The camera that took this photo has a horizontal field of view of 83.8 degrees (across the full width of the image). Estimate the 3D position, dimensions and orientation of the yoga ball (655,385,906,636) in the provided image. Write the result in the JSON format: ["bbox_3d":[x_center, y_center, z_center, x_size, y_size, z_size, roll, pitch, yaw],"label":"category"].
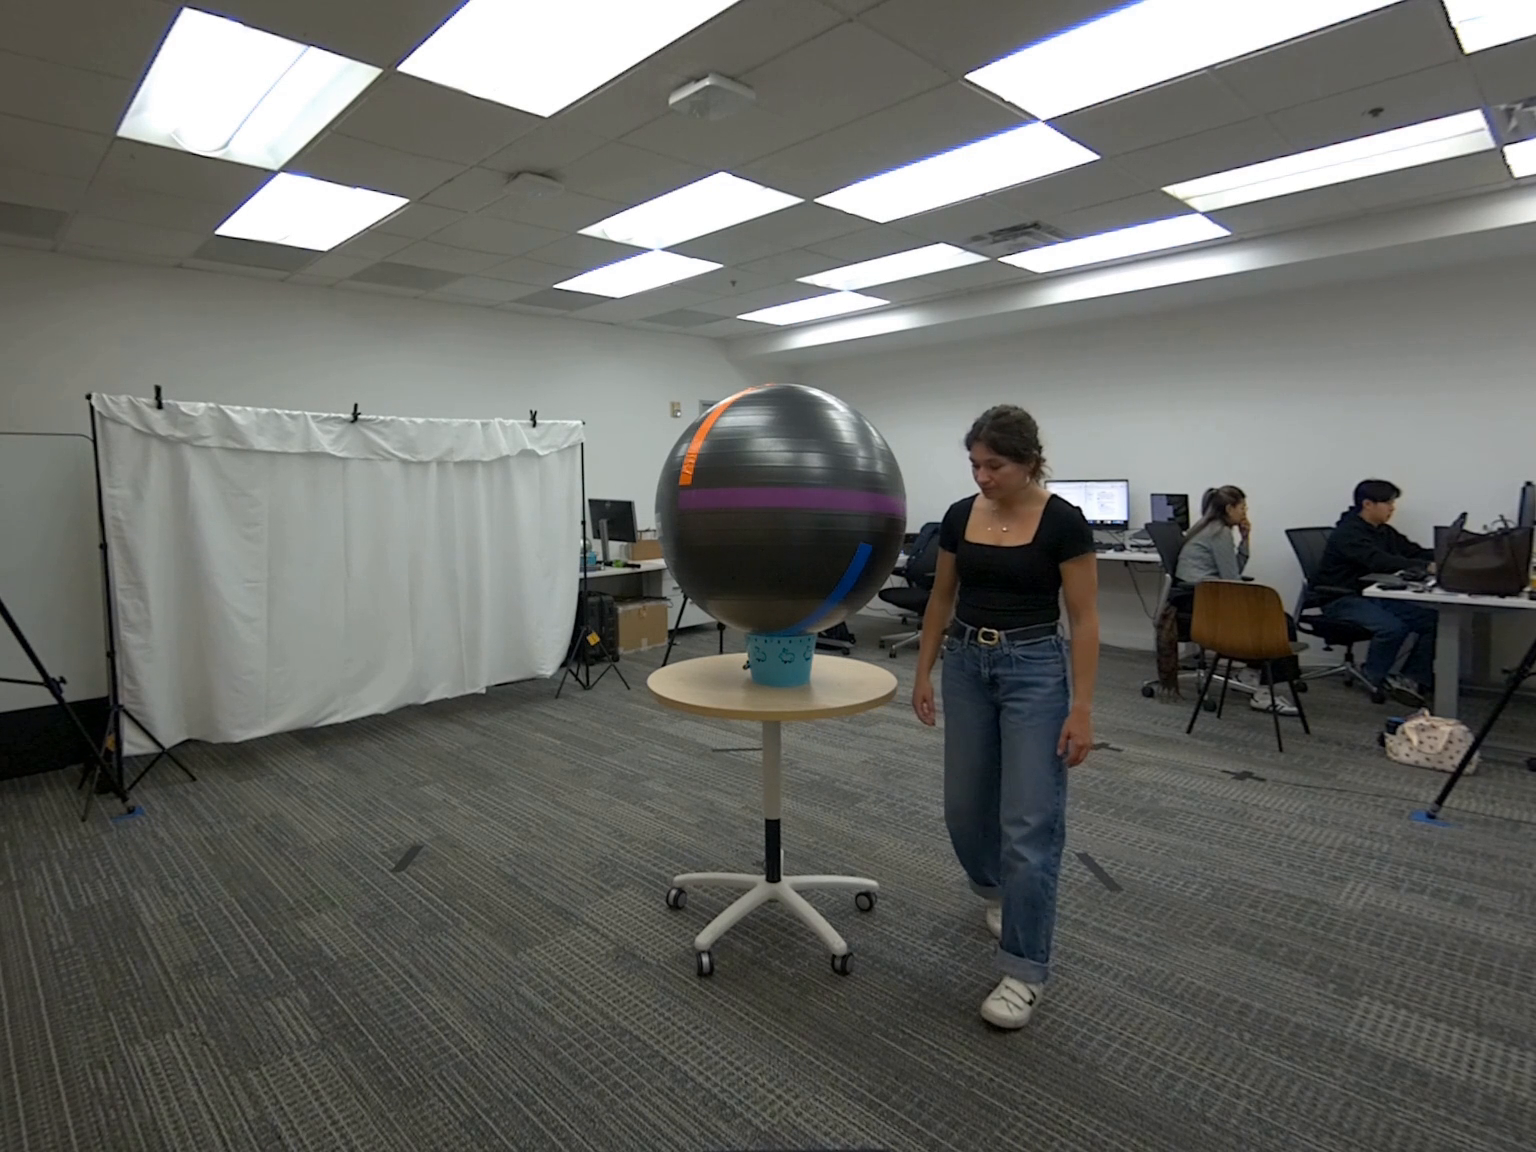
[{"bbox_3d":[0.034,-0.190,2.573,0.757,0.755,0.762,-1,5,-2],"label":"yoga ball"}]
